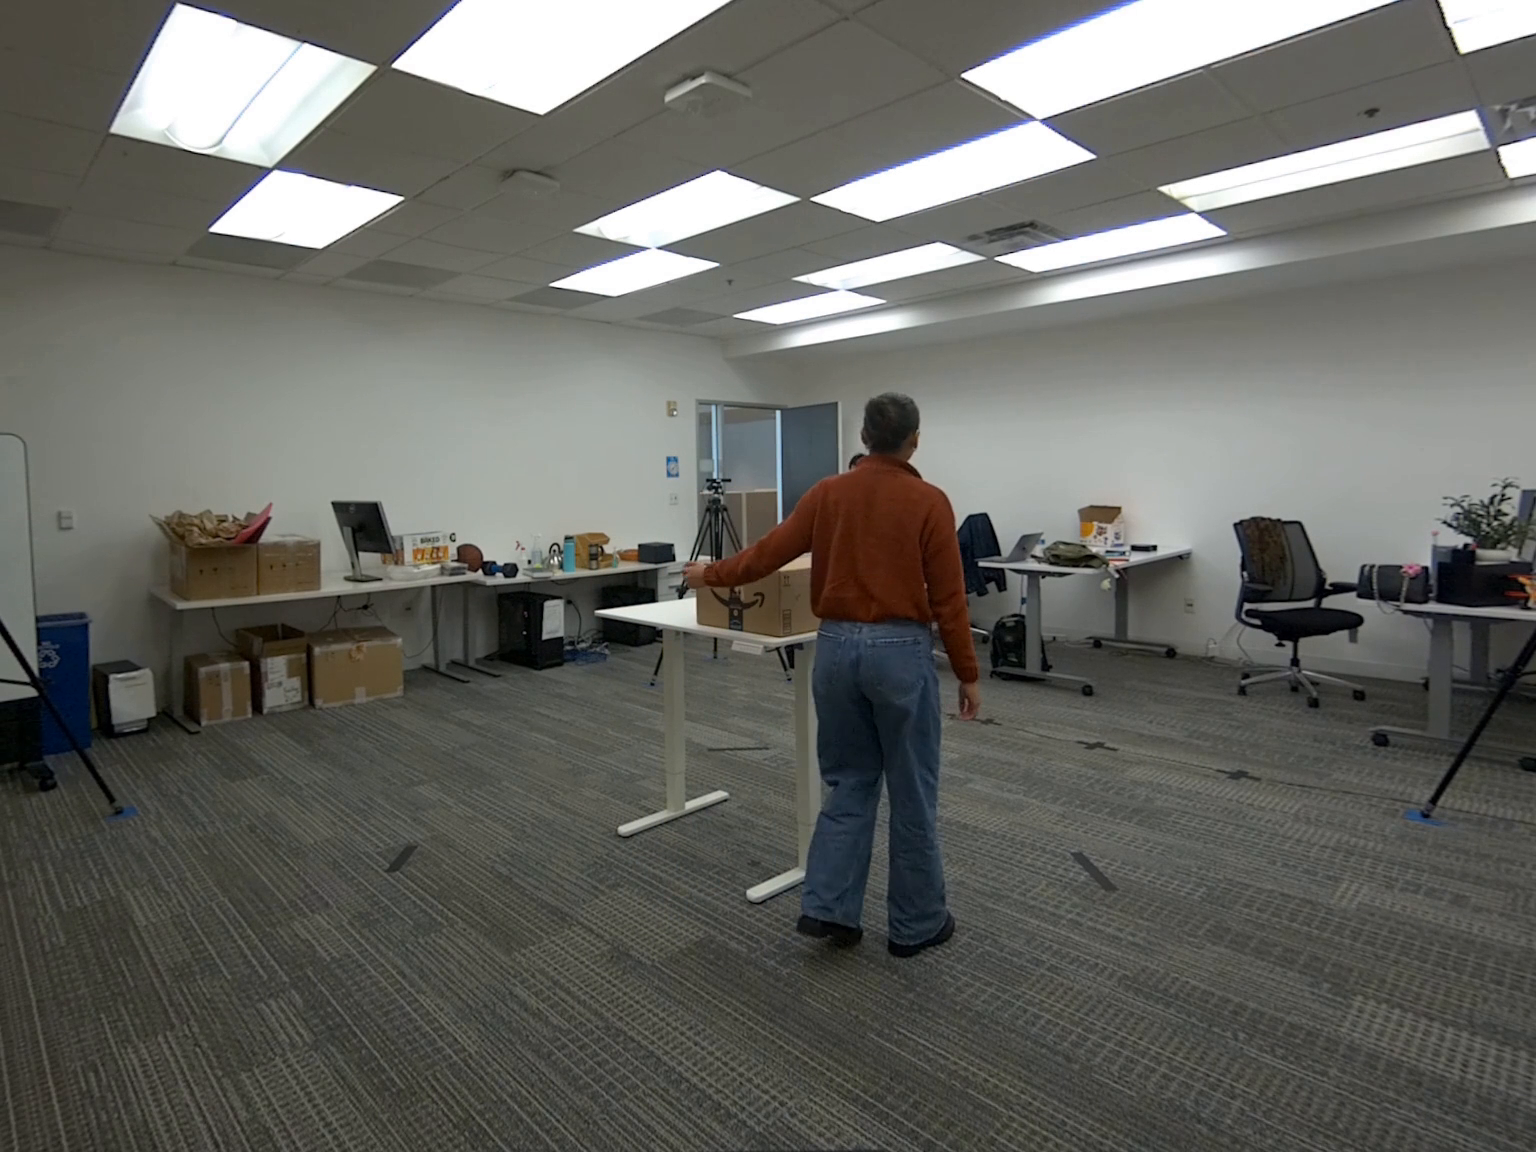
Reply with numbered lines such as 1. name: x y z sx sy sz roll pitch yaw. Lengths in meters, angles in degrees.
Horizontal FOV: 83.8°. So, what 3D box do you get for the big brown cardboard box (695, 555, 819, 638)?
1. big brown cardboard box: 0.092 0.056 3.078 0.574 0.232 0.430 -8 8 -44
